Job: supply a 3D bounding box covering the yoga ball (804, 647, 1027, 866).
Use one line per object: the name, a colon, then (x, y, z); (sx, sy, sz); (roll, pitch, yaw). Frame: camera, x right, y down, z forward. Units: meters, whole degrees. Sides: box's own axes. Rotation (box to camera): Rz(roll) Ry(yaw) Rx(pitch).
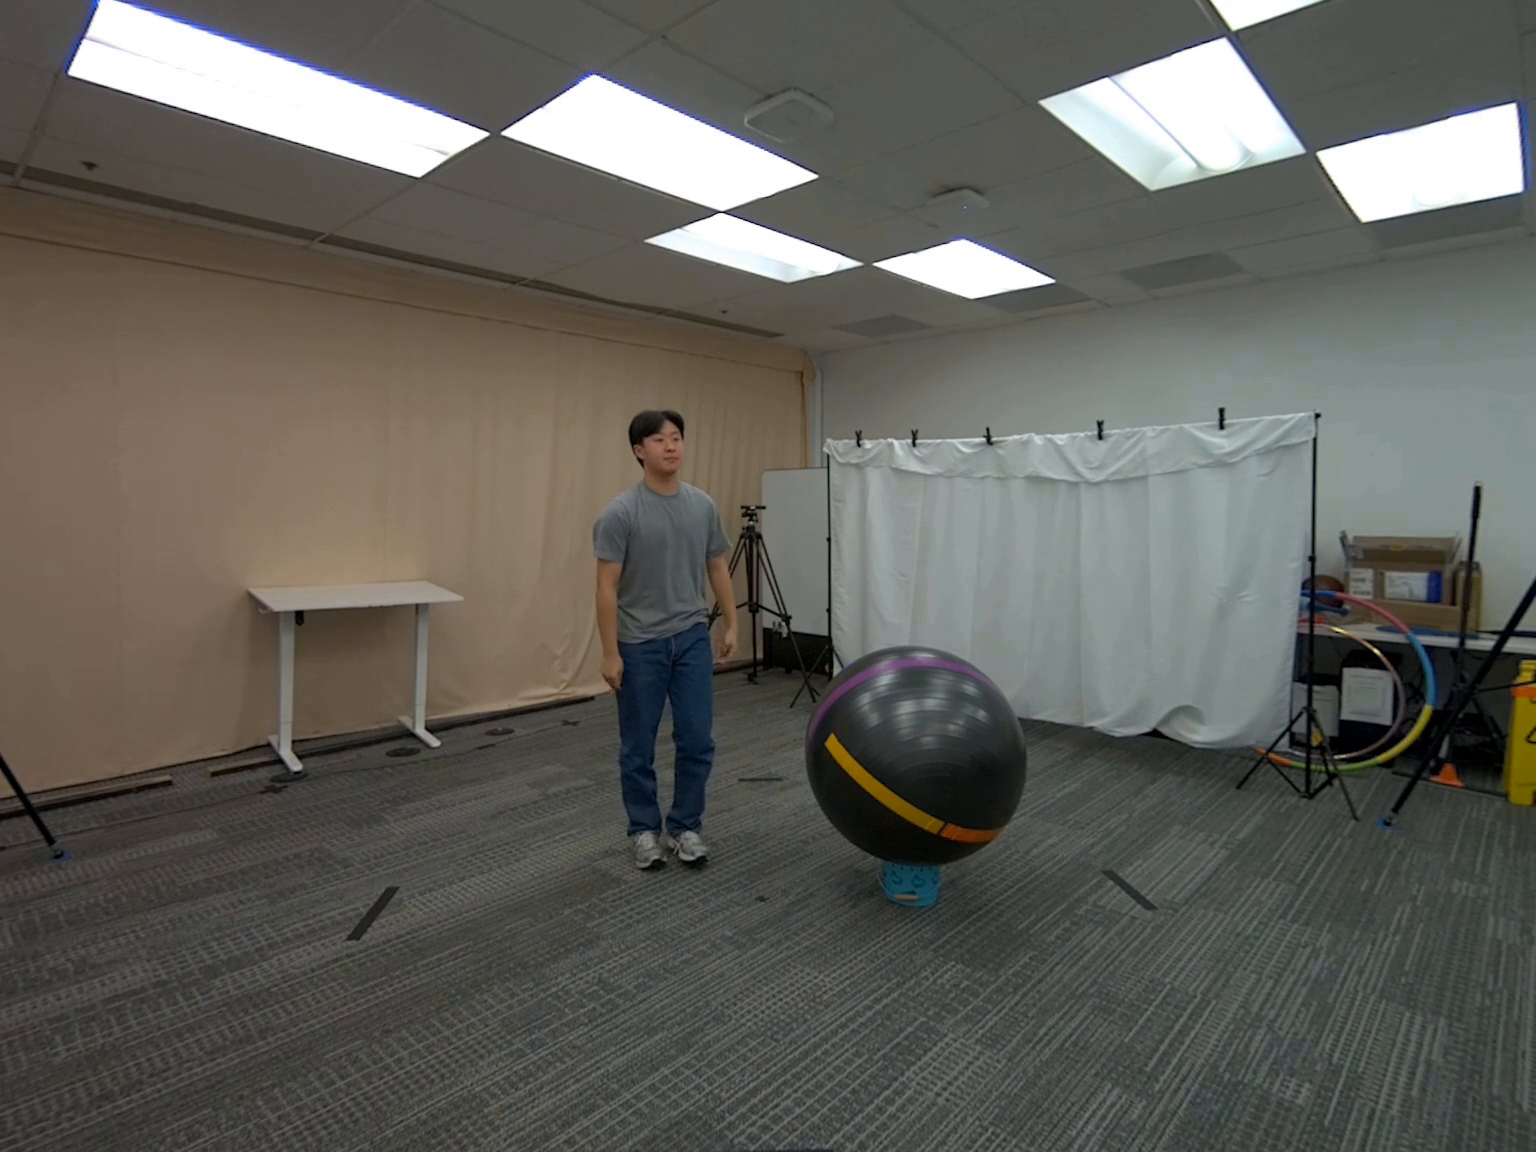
yoga ball: (0.521, 0.632, 2.987); (0.757, 0.756, 0.761); (0, 4, -2)
